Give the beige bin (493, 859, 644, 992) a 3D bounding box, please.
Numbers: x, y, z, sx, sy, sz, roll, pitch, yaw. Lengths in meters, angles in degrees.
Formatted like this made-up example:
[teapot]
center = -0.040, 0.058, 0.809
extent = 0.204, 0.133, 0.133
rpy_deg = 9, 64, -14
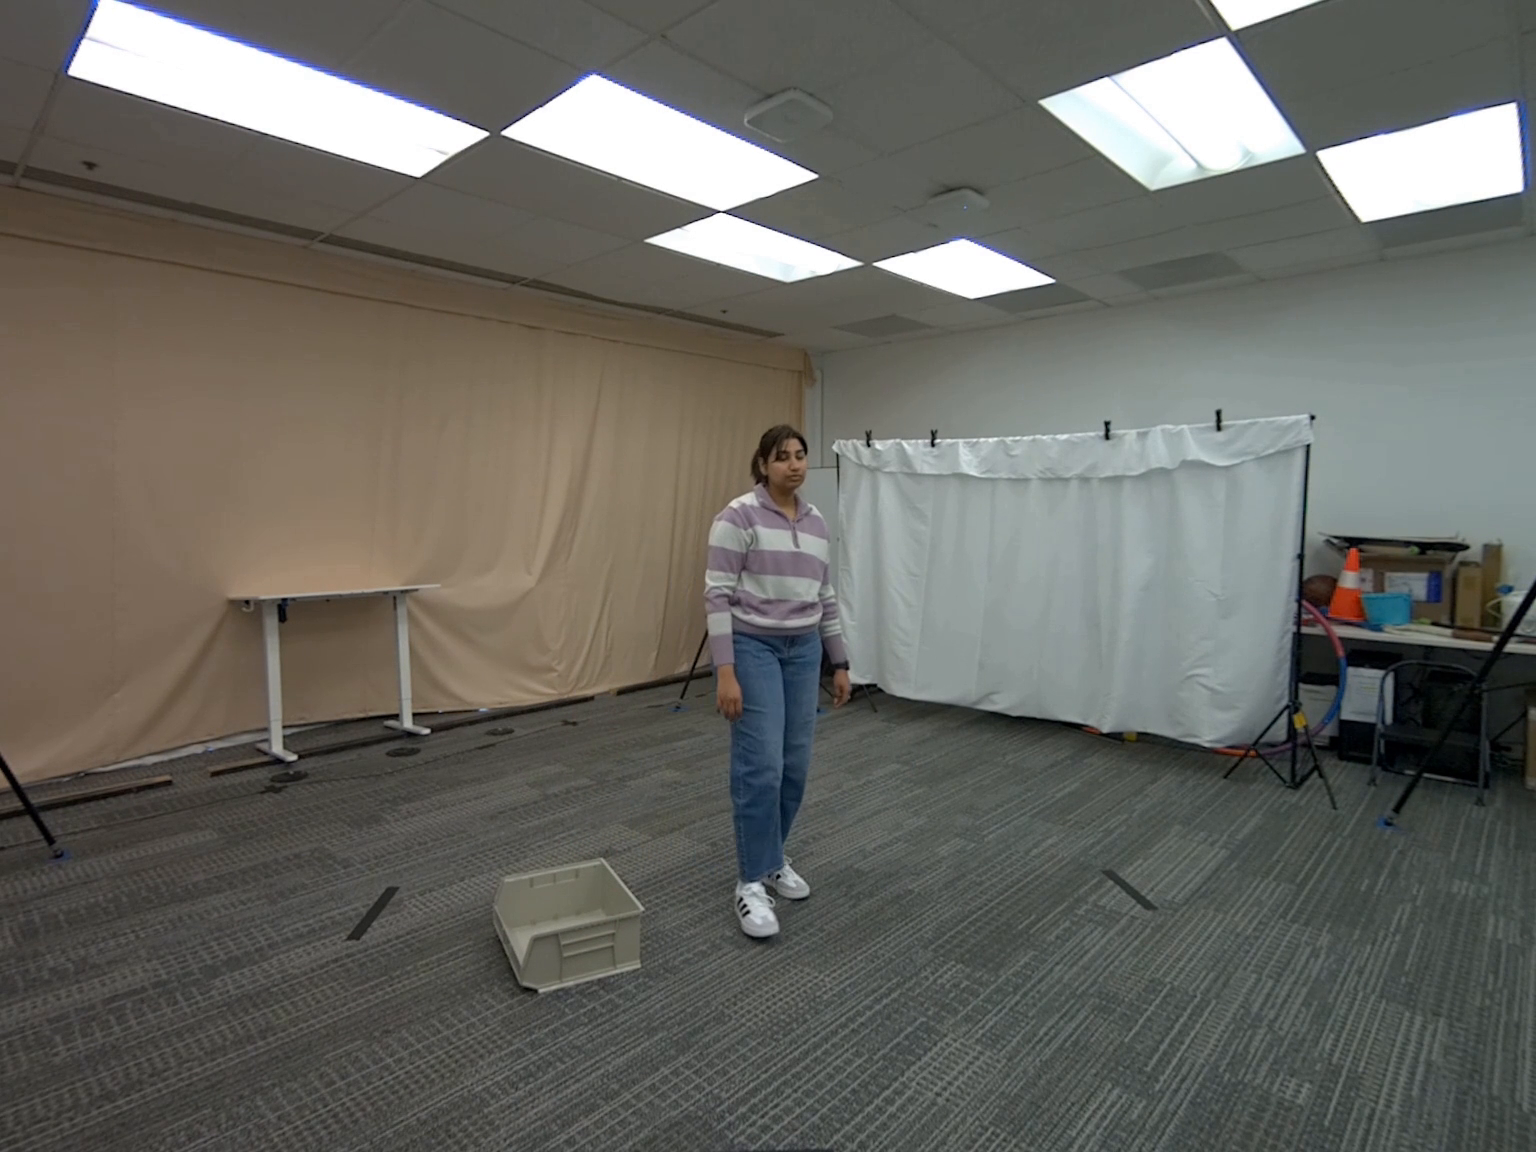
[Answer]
[beige bin]
center = -0.637, 1.089, 2.642
extent = 0.368, 0.188, 0.434
rpy_deg = -2, 4, -27
